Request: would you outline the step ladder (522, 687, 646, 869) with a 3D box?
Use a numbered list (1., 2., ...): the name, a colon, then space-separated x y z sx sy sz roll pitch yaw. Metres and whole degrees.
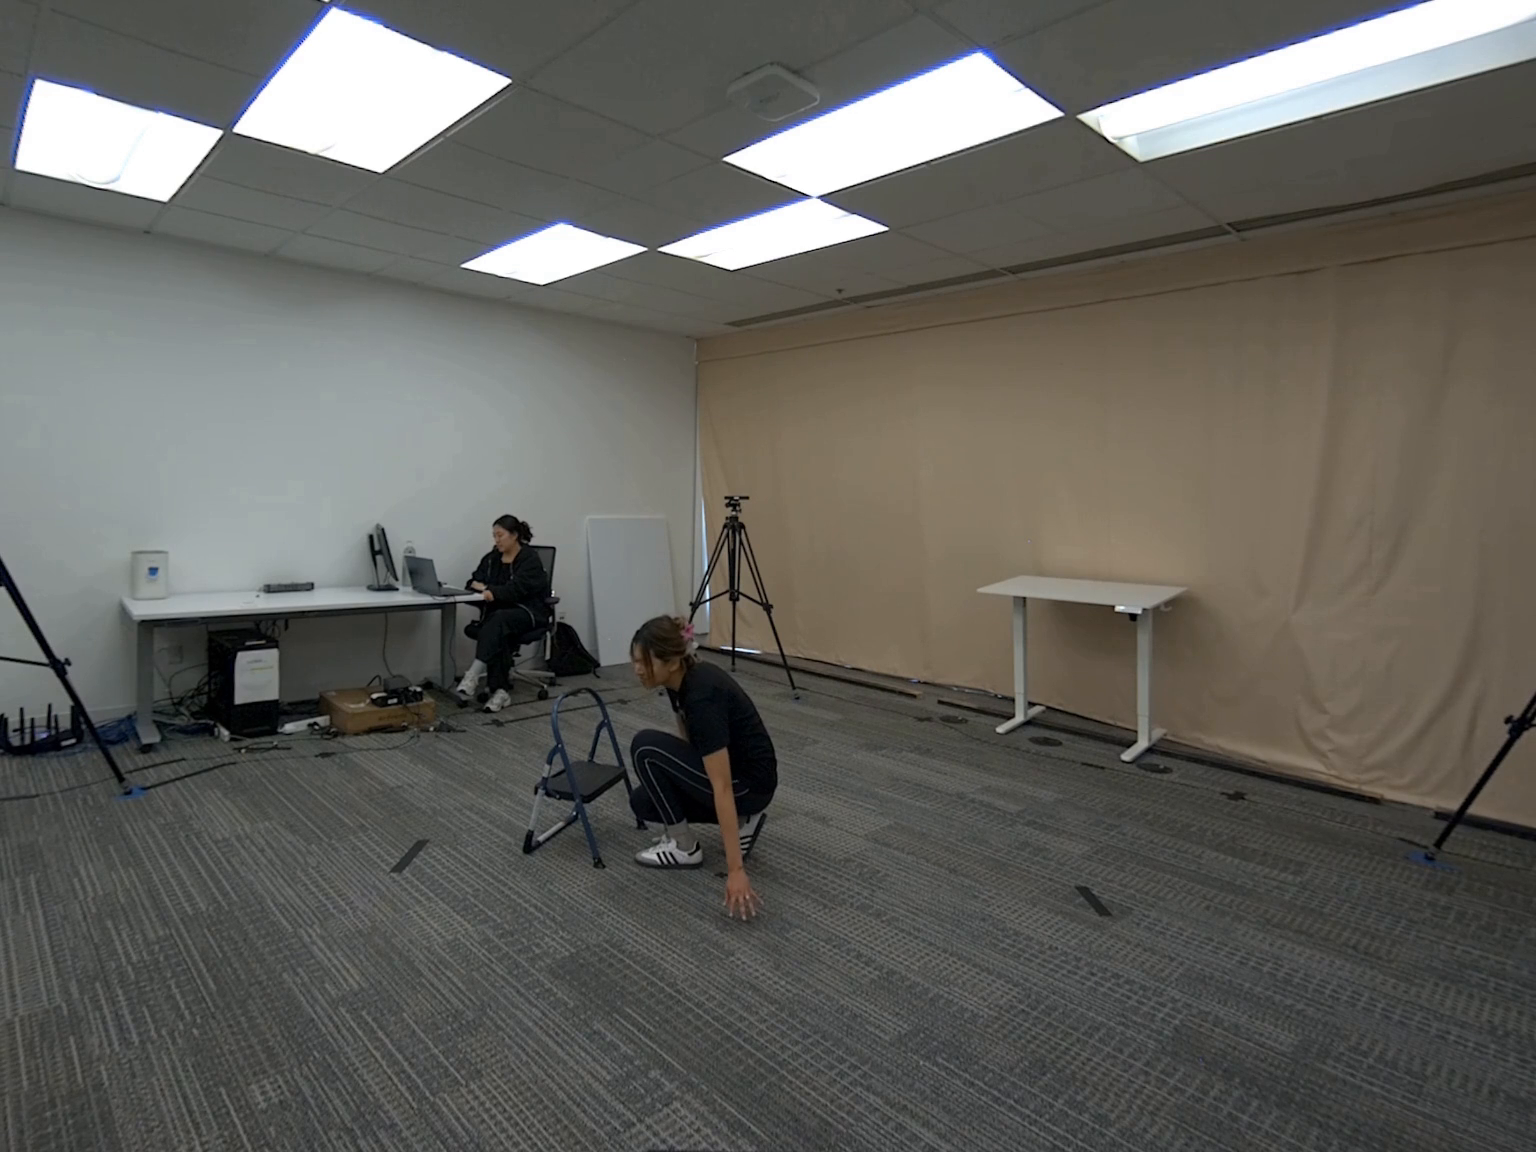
1. step ladder: -0.723 0.757 3.372 0.354 0.604 0.426 2 4 16
